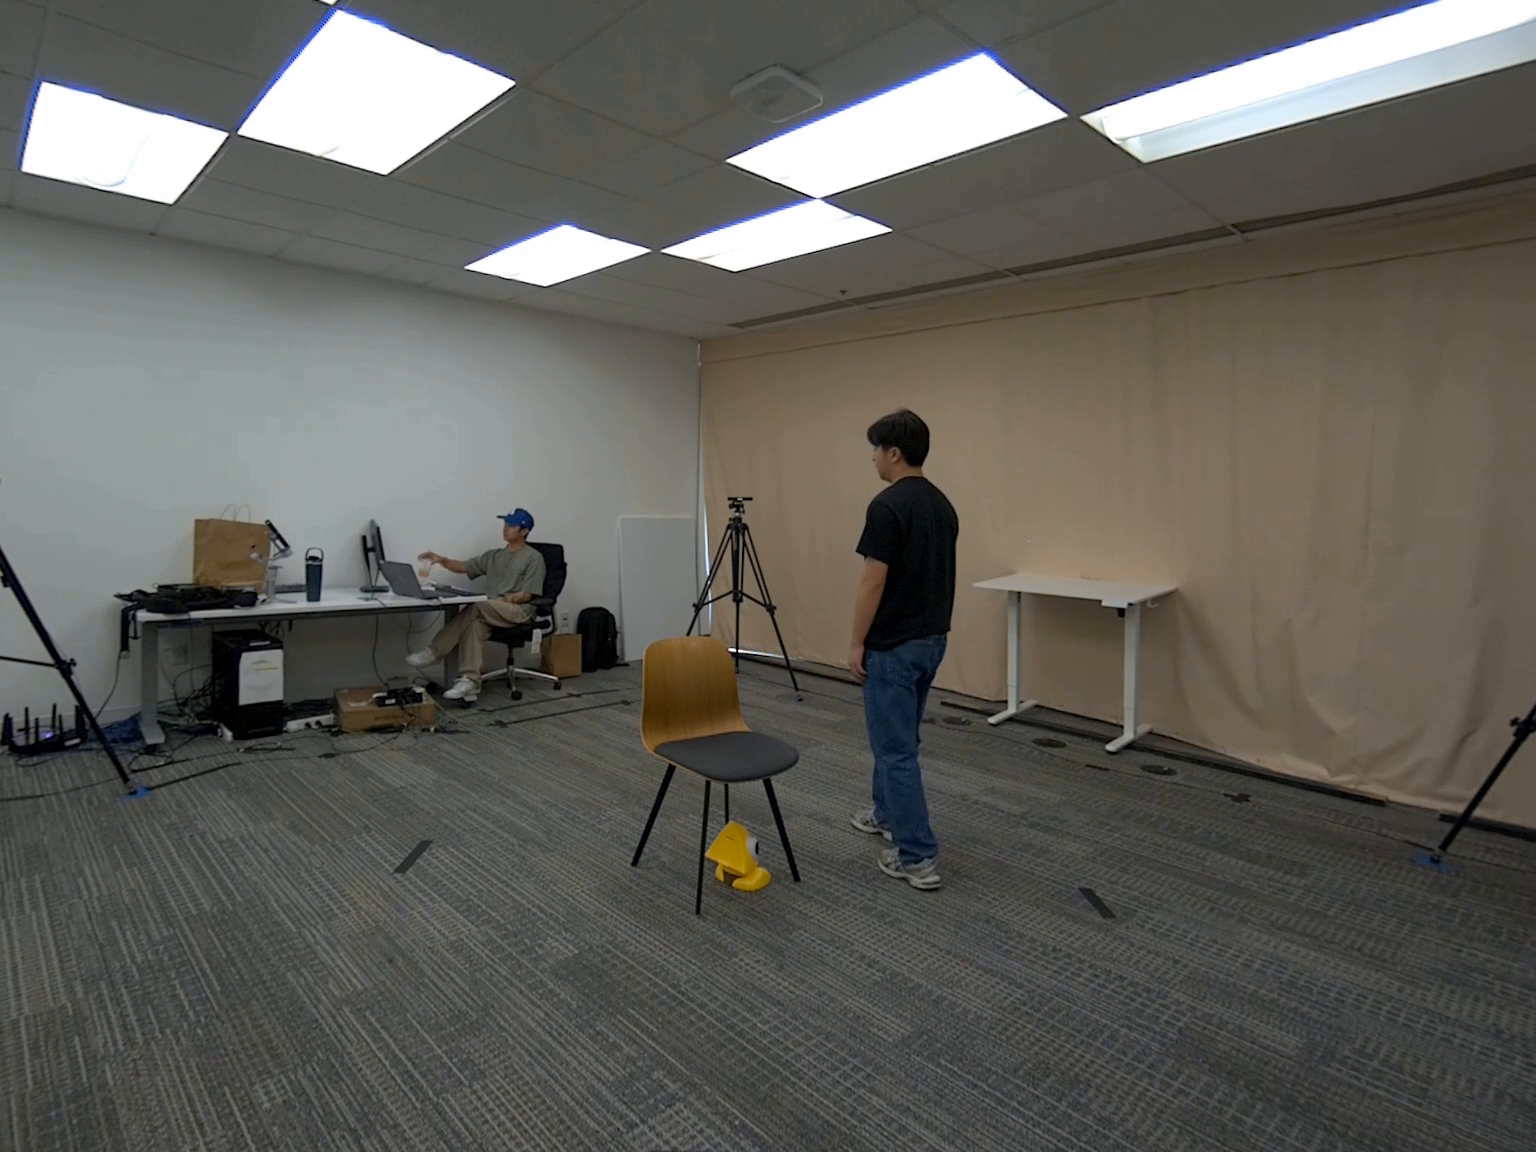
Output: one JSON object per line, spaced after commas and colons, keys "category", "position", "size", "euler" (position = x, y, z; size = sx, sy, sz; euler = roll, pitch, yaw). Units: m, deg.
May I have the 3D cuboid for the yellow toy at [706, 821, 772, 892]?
{"category": "yellow toy", "position": [-0.105, 0.996, 3.083], "size": [0.210, 0.230, 0.188], "euler": [4, 4, 45]}
